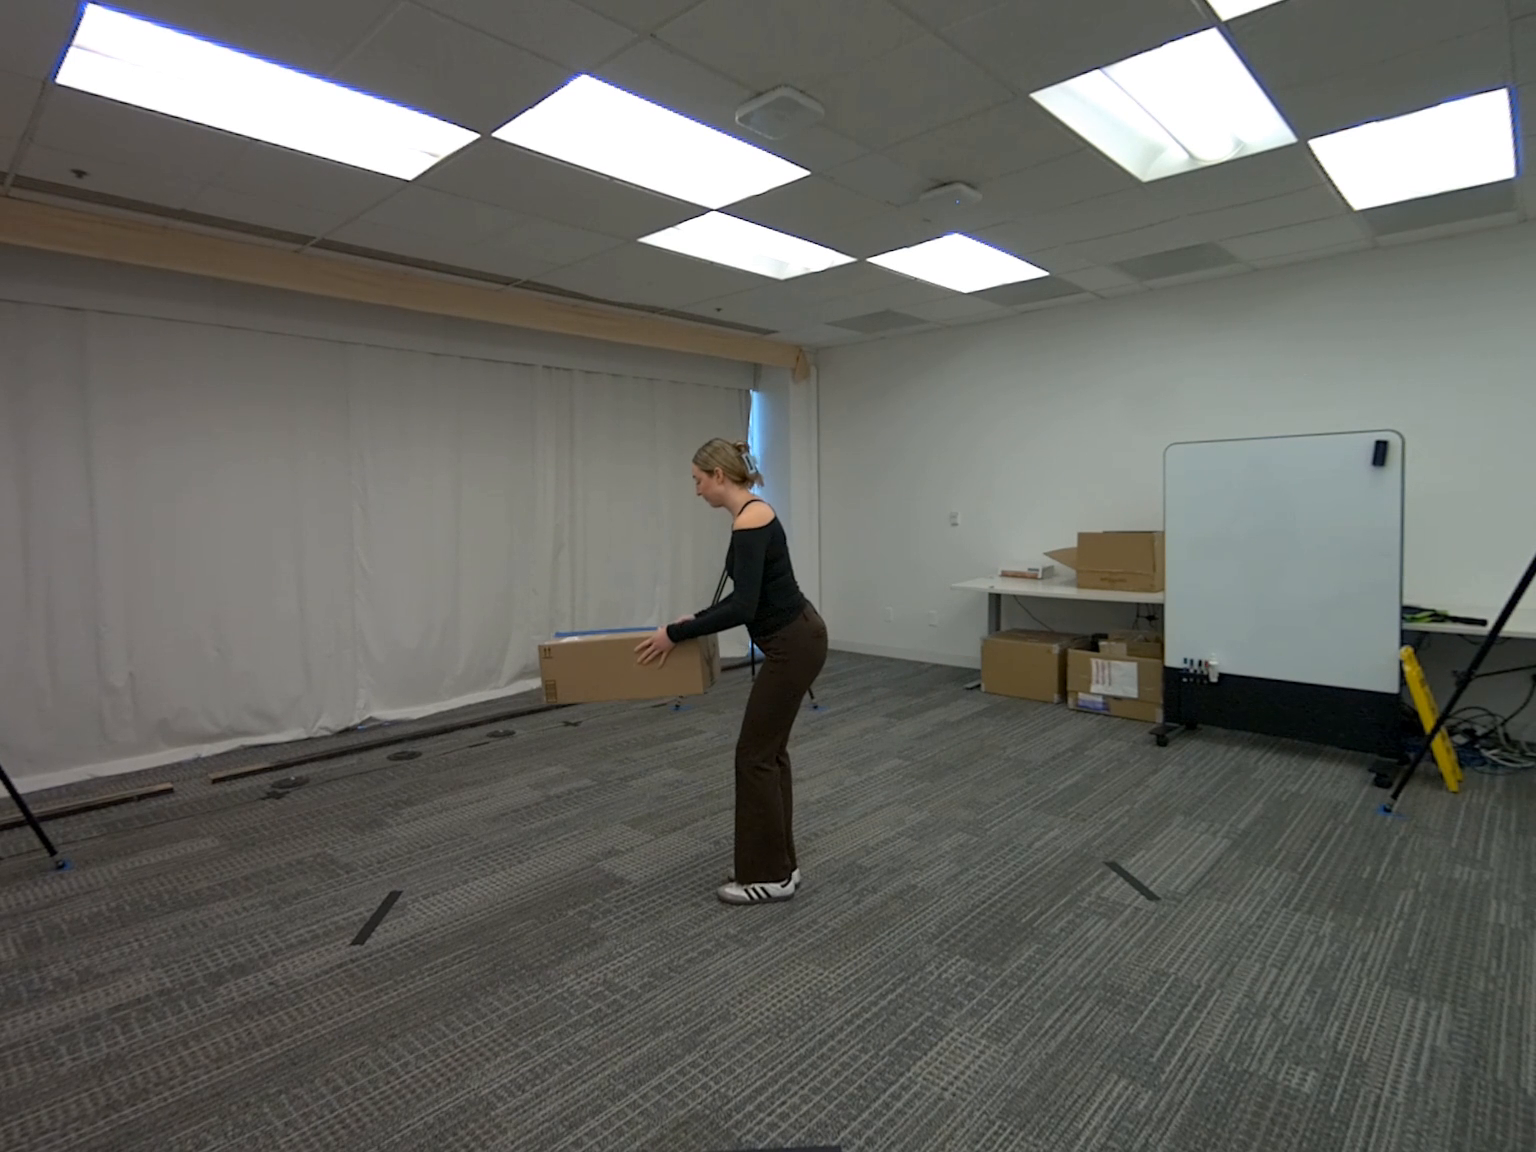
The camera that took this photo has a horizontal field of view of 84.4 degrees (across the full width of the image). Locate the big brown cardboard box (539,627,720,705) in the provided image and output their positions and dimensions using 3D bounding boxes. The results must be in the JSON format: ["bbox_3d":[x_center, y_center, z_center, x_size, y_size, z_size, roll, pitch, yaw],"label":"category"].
[{"bbox_3d":[-0.485,0.321,3.077,0.594,0.233,0.414,-3,1,7],"label":"big brown cardboard box"}]
